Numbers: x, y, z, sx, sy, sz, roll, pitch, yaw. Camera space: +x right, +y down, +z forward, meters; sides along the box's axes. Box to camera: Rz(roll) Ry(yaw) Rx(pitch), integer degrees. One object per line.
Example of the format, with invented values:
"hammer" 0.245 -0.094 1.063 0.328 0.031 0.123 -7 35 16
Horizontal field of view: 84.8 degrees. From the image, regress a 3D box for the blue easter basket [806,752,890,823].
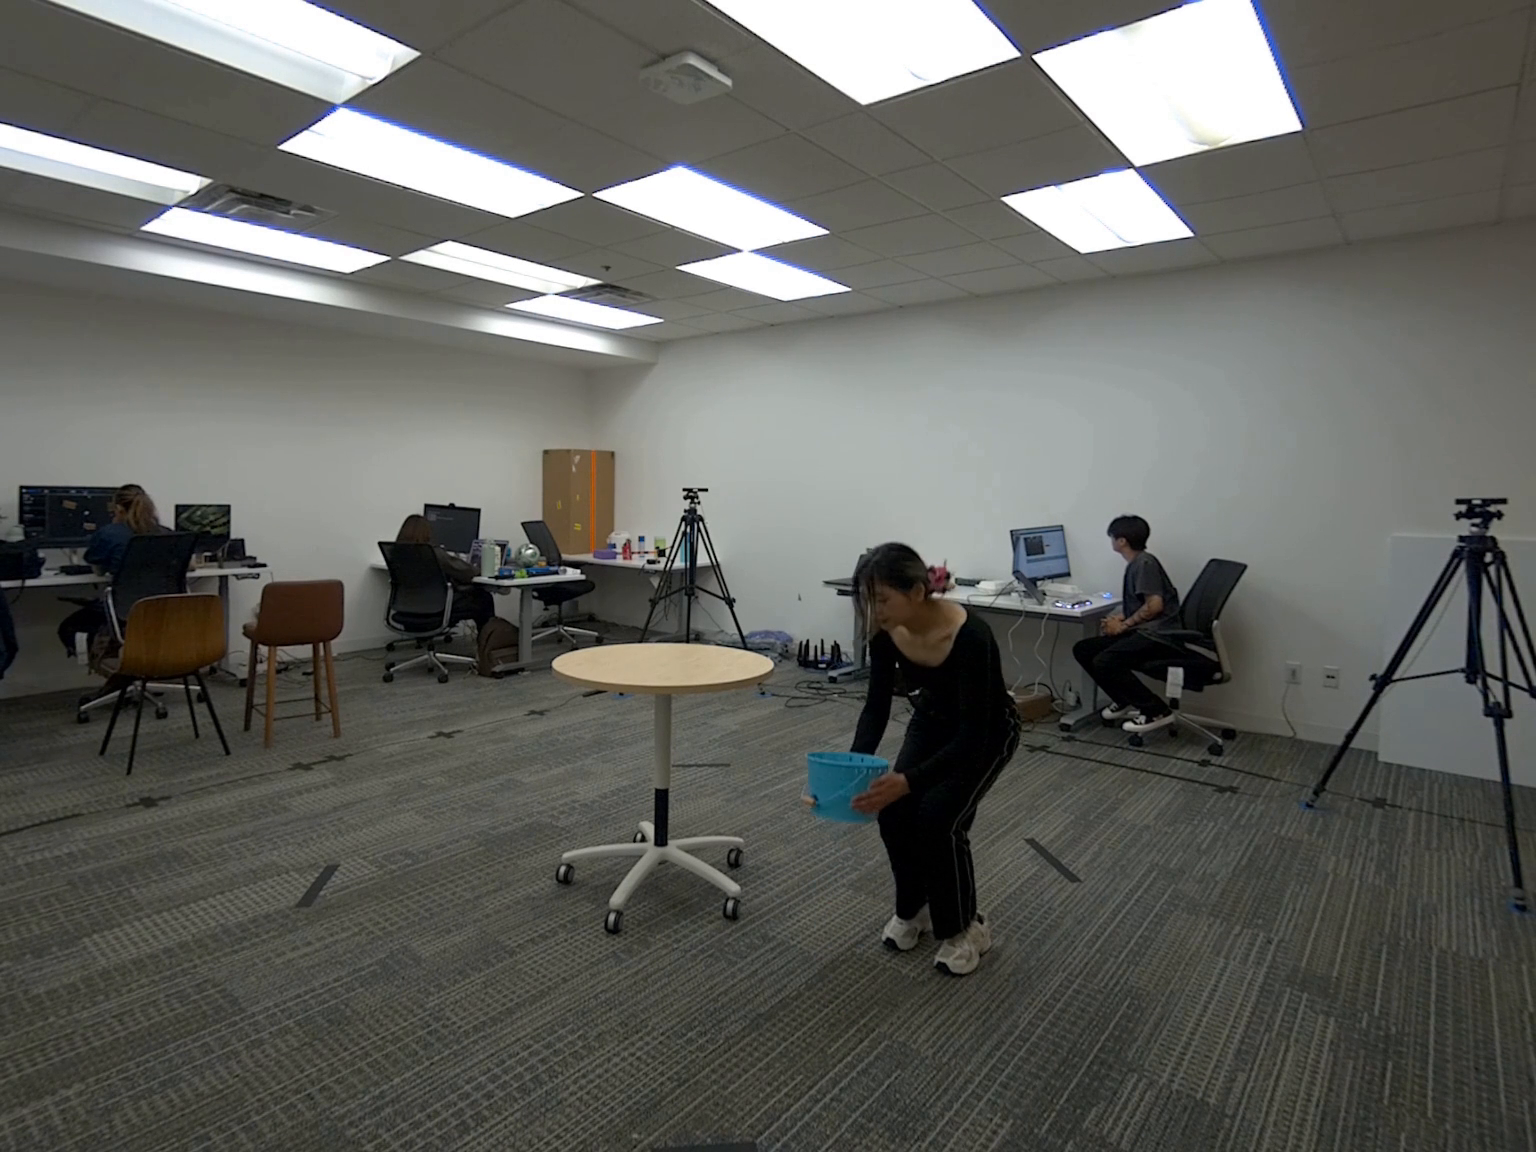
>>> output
"blue easter basket" 0.214 0.585 2.337 0.243 0.156 0.243 5 -3 -2
